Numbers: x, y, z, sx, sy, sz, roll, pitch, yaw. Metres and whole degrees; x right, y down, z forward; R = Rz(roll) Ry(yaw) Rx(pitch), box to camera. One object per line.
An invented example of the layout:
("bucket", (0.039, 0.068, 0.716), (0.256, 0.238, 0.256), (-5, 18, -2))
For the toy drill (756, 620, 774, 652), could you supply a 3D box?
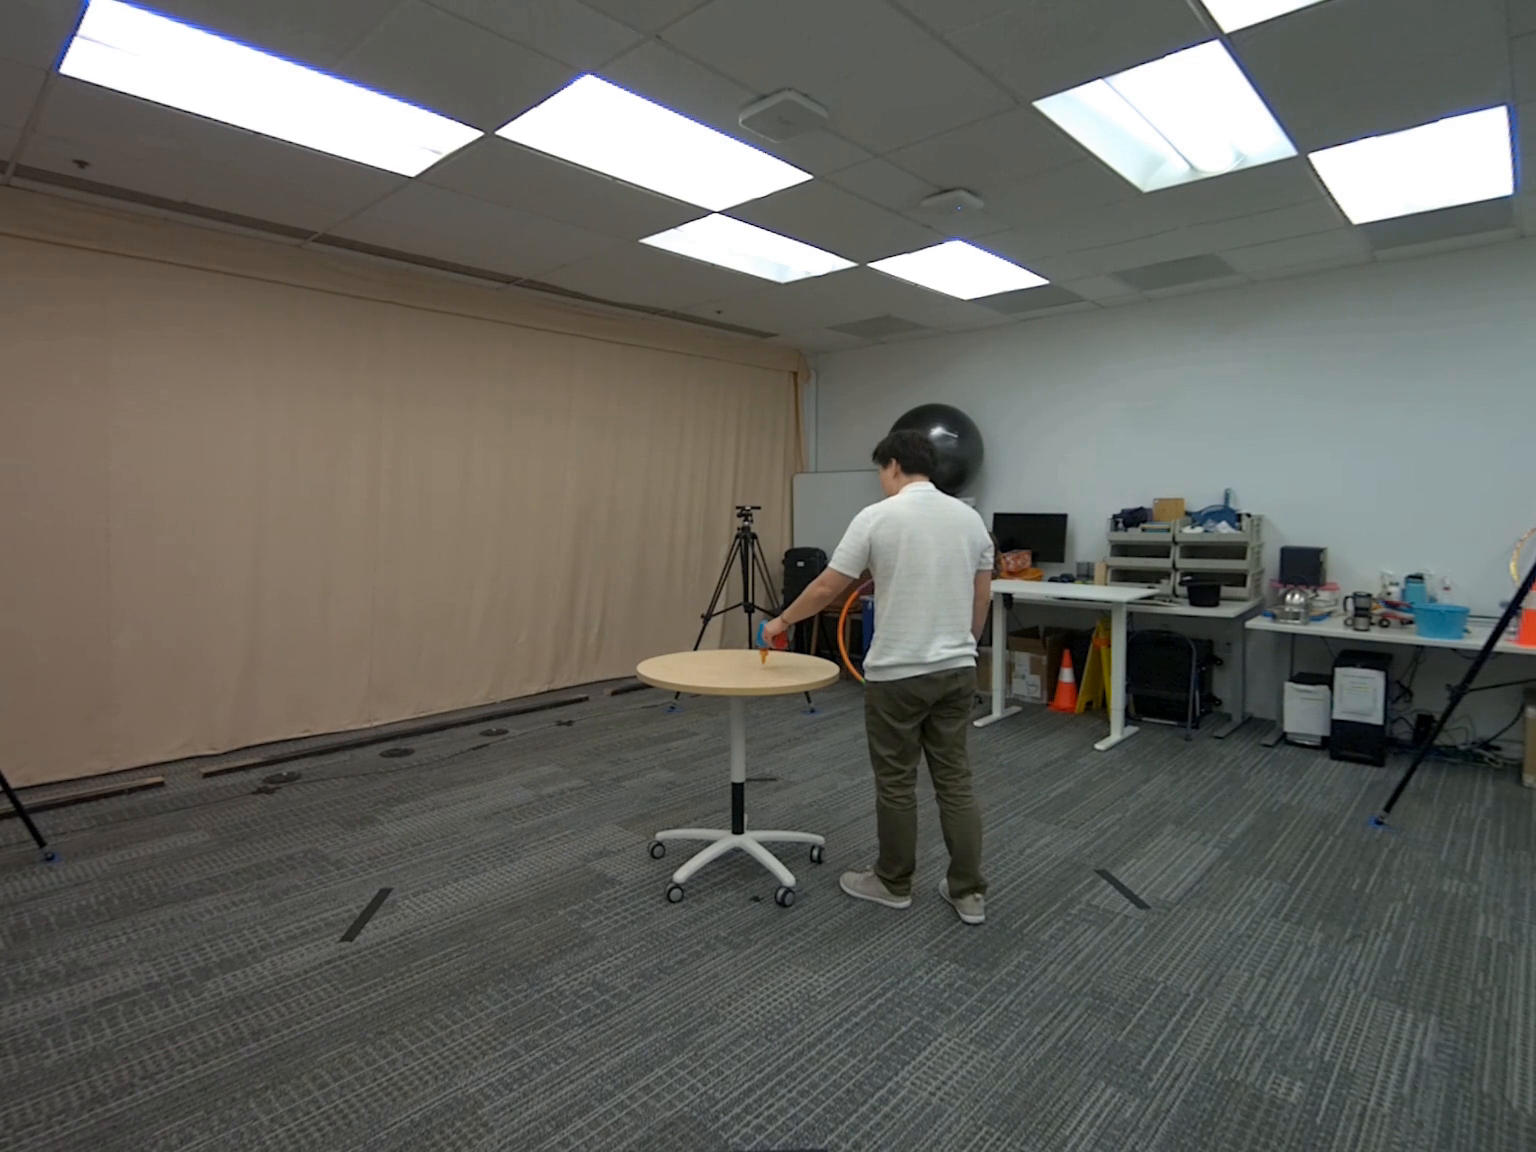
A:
("toy drill", (0.011, 0.259, 3.125), (0.059, 0.169, 0.151), (-2, 11, -30))
